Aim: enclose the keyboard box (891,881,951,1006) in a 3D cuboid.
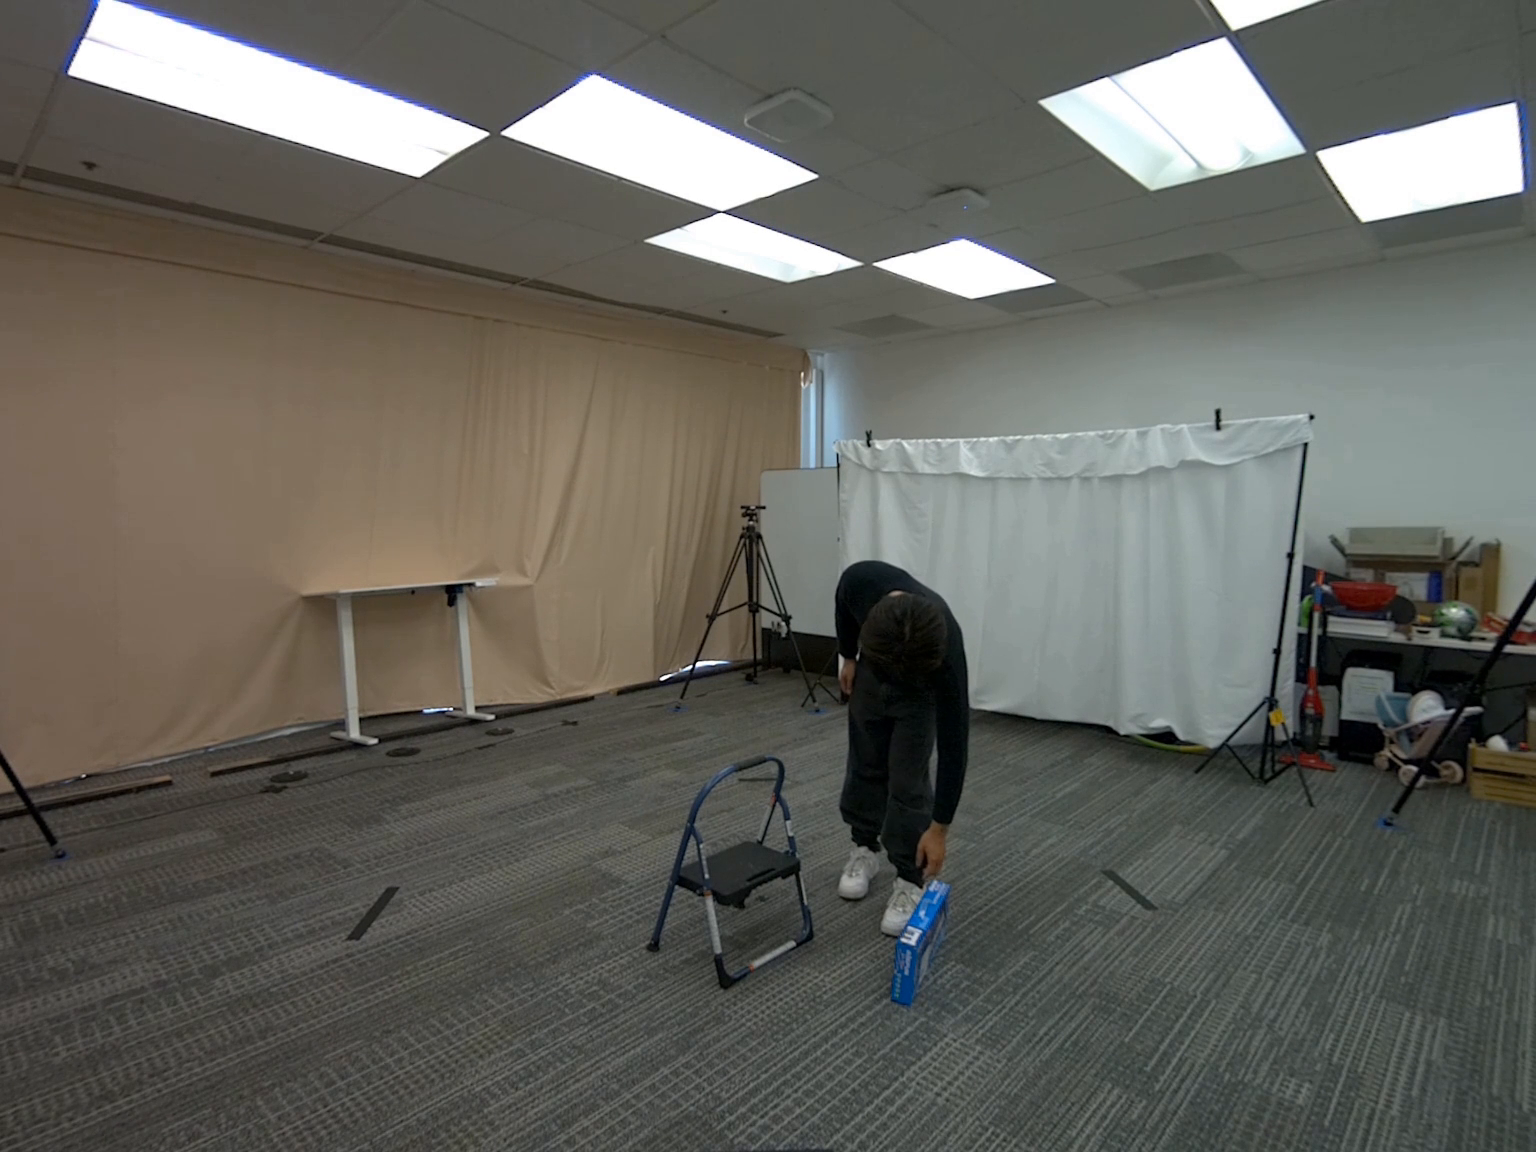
[{"bbox_3d":[0.465,1.089,2.535,0.061,0.175,0.427,9,8,24],"label":"keyboard box"}]
